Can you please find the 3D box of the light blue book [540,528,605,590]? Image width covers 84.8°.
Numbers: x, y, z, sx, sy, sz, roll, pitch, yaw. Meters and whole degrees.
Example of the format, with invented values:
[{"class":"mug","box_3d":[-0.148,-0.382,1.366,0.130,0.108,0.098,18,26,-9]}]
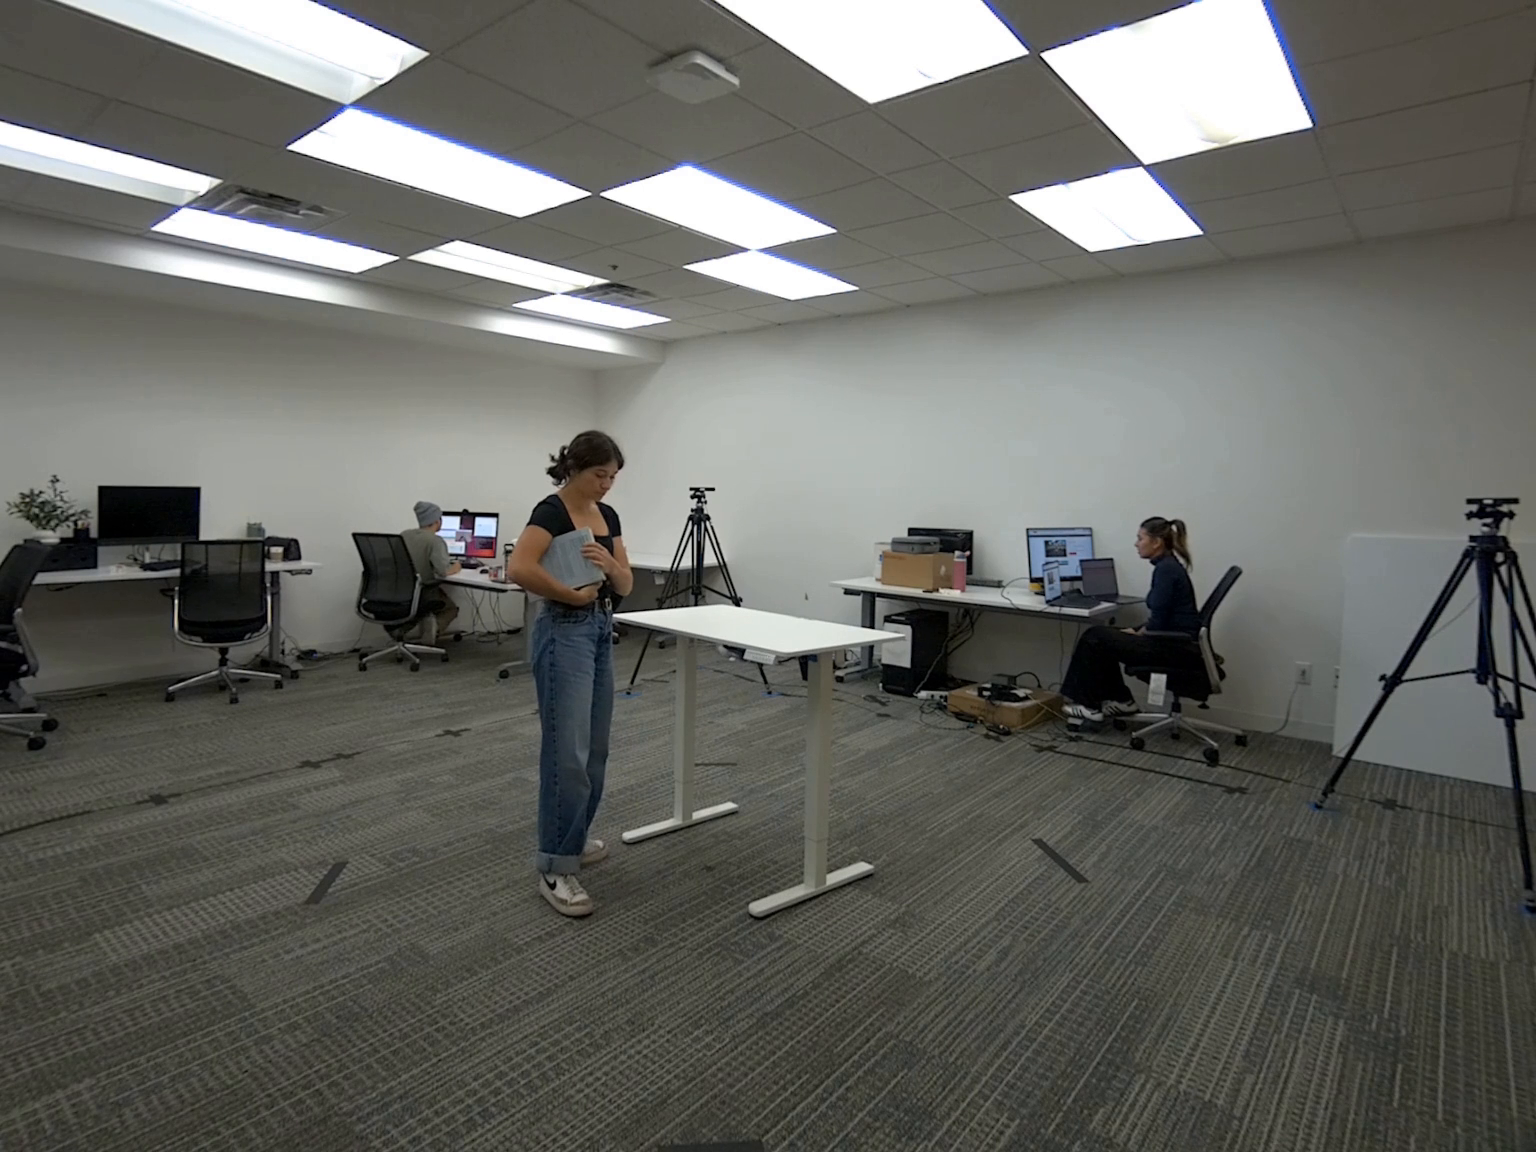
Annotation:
[{"class":"light blue book","box_3d":[-0.715,-0.044,2.873,0.259,0.193,0.059,-15,-6,-7]}]
